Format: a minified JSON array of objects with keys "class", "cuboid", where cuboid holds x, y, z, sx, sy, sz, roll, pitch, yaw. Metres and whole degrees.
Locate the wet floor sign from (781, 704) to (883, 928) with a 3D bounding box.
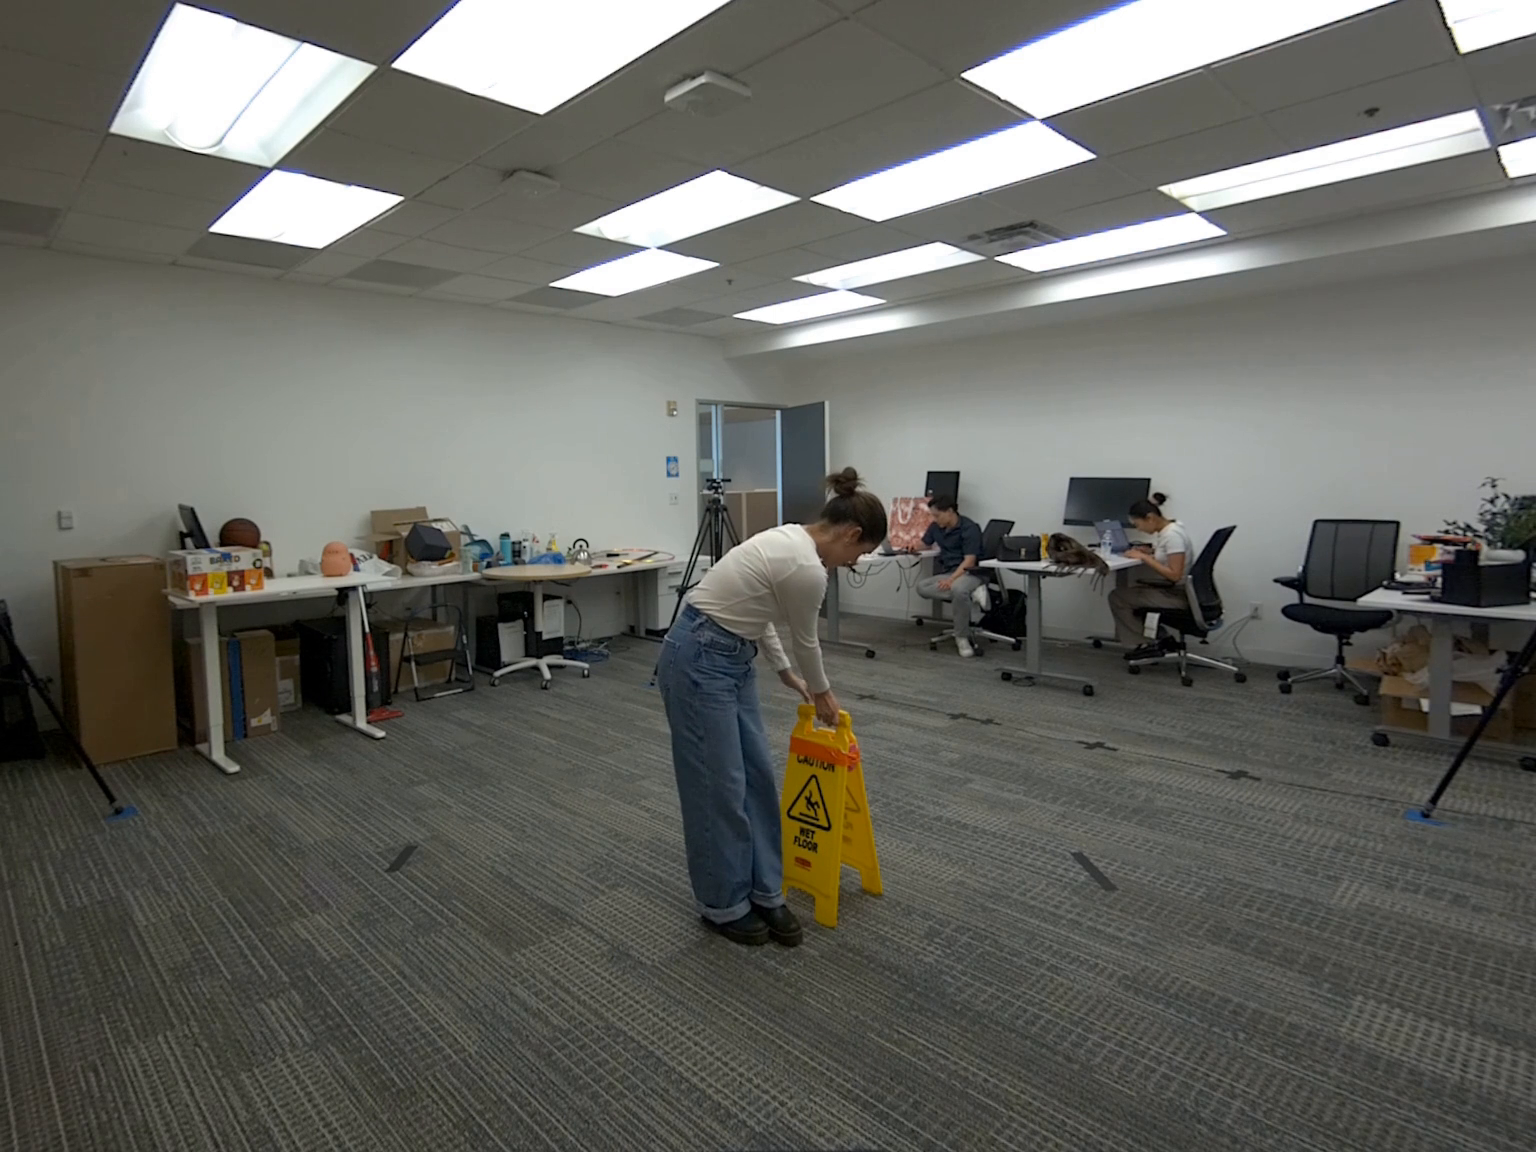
[{"class":"wet floor sign","cuboid":[0.188,0.750,2.823,0.291,0.643,0.282,2,6,41]}]
